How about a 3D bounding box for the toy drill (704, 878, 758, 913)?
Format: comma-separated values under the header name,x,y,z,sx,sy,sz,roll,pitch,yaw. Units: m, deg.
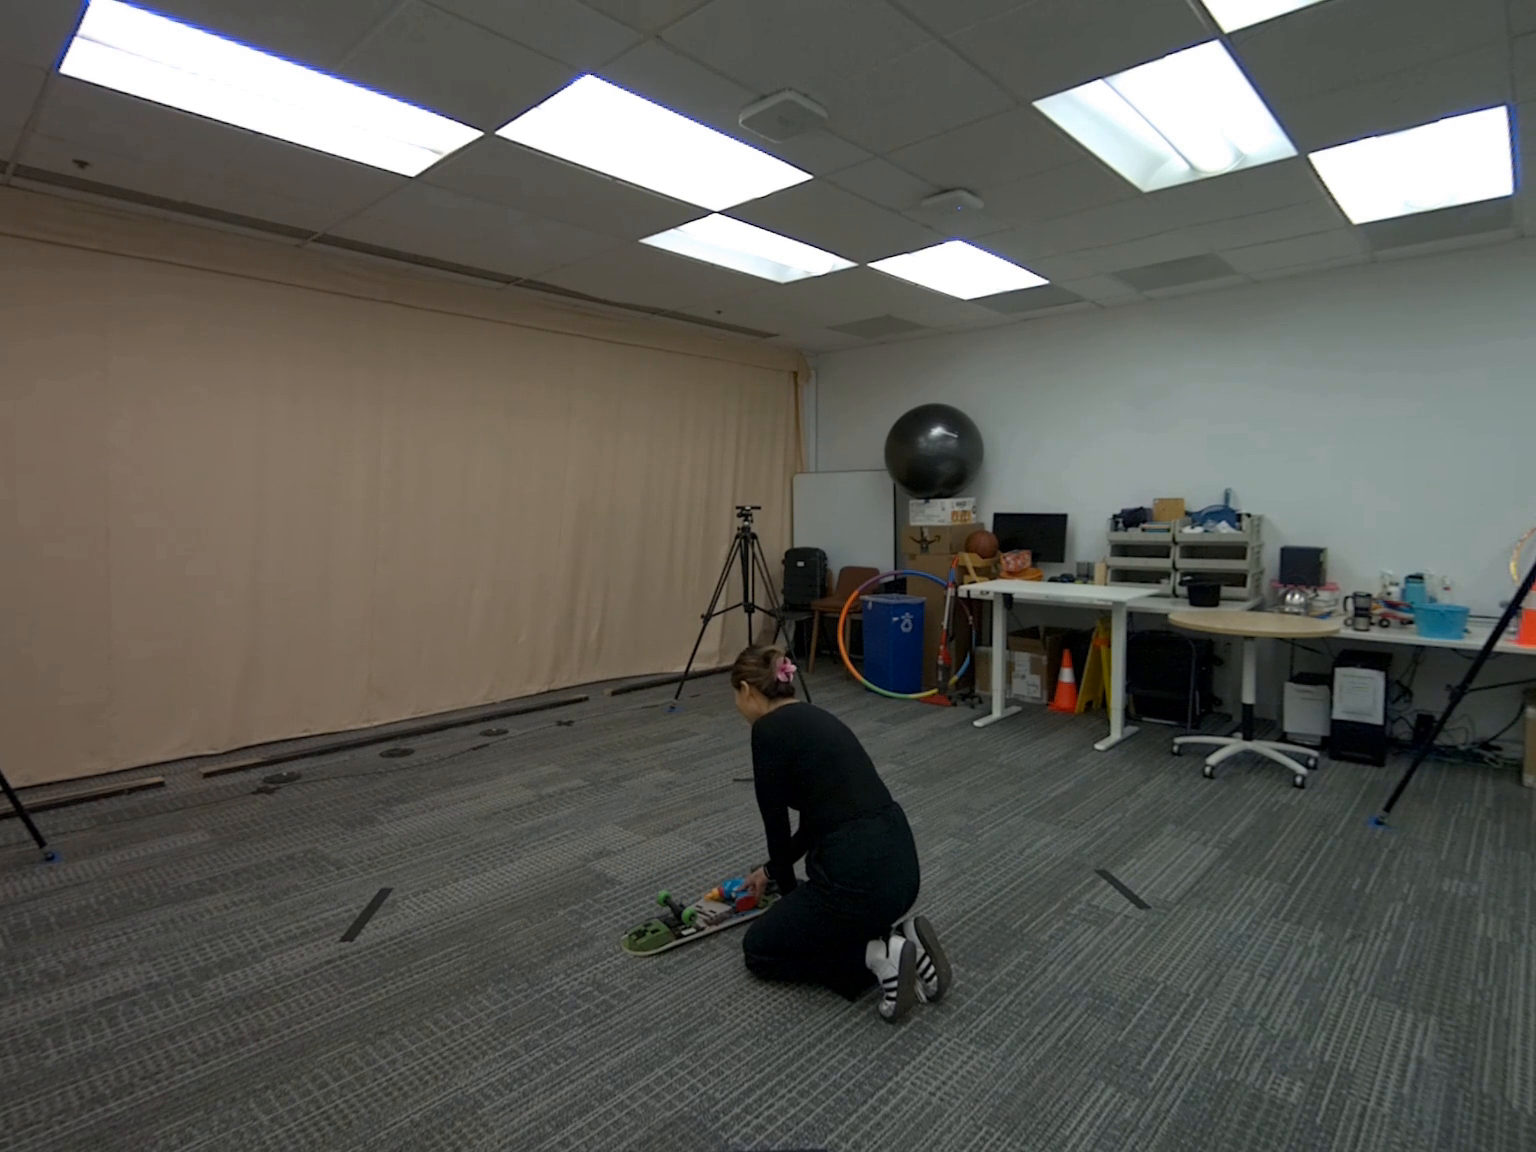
name,x,y,z,sx,sy,sz,roll,pitch,yaw
toy drill,-0.131,1.100,2.886,0.167,0.061,0.149,-9,11,-16
